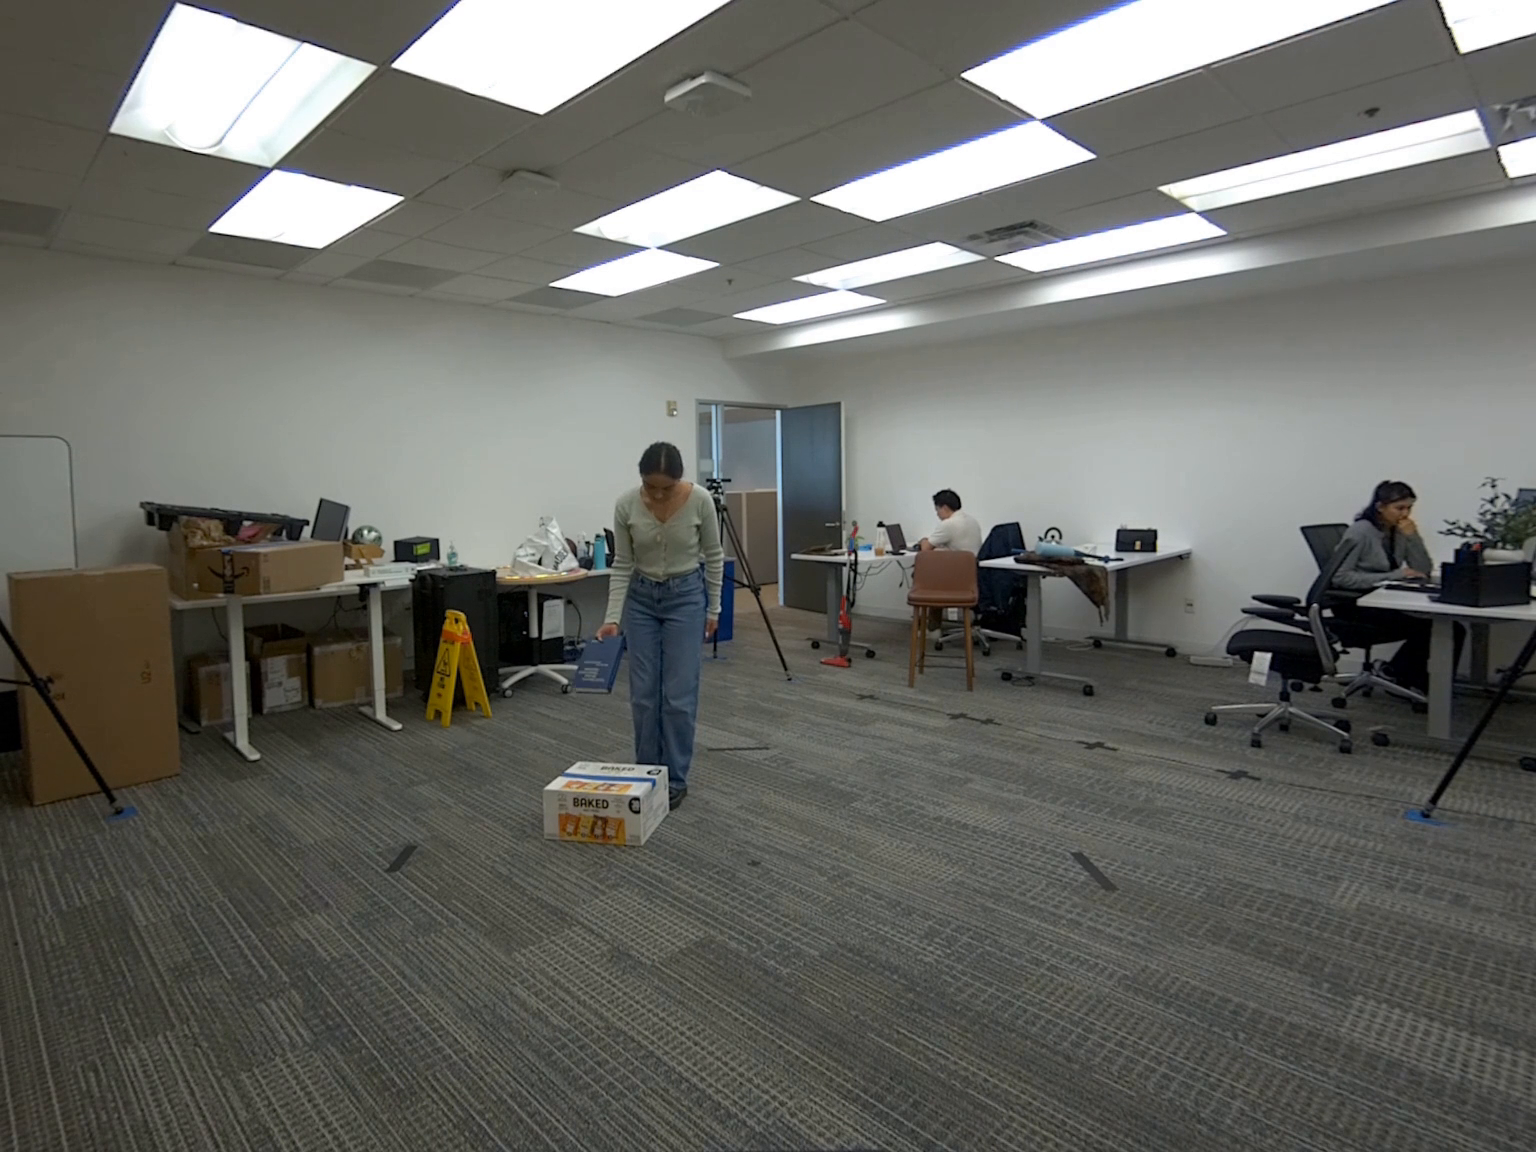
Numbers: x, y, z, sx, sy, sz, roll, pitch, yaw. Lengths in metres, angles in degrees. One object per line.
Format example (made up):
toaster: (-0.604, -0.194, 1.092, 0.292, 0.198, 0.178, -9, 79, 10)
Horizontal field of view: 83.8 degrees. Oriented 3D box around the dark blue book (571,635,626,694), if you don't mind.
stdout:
dark blue book: (-0.696, 0.358, 3.480, 0.167, 0.249, 0.043, -2, -36, 23)
